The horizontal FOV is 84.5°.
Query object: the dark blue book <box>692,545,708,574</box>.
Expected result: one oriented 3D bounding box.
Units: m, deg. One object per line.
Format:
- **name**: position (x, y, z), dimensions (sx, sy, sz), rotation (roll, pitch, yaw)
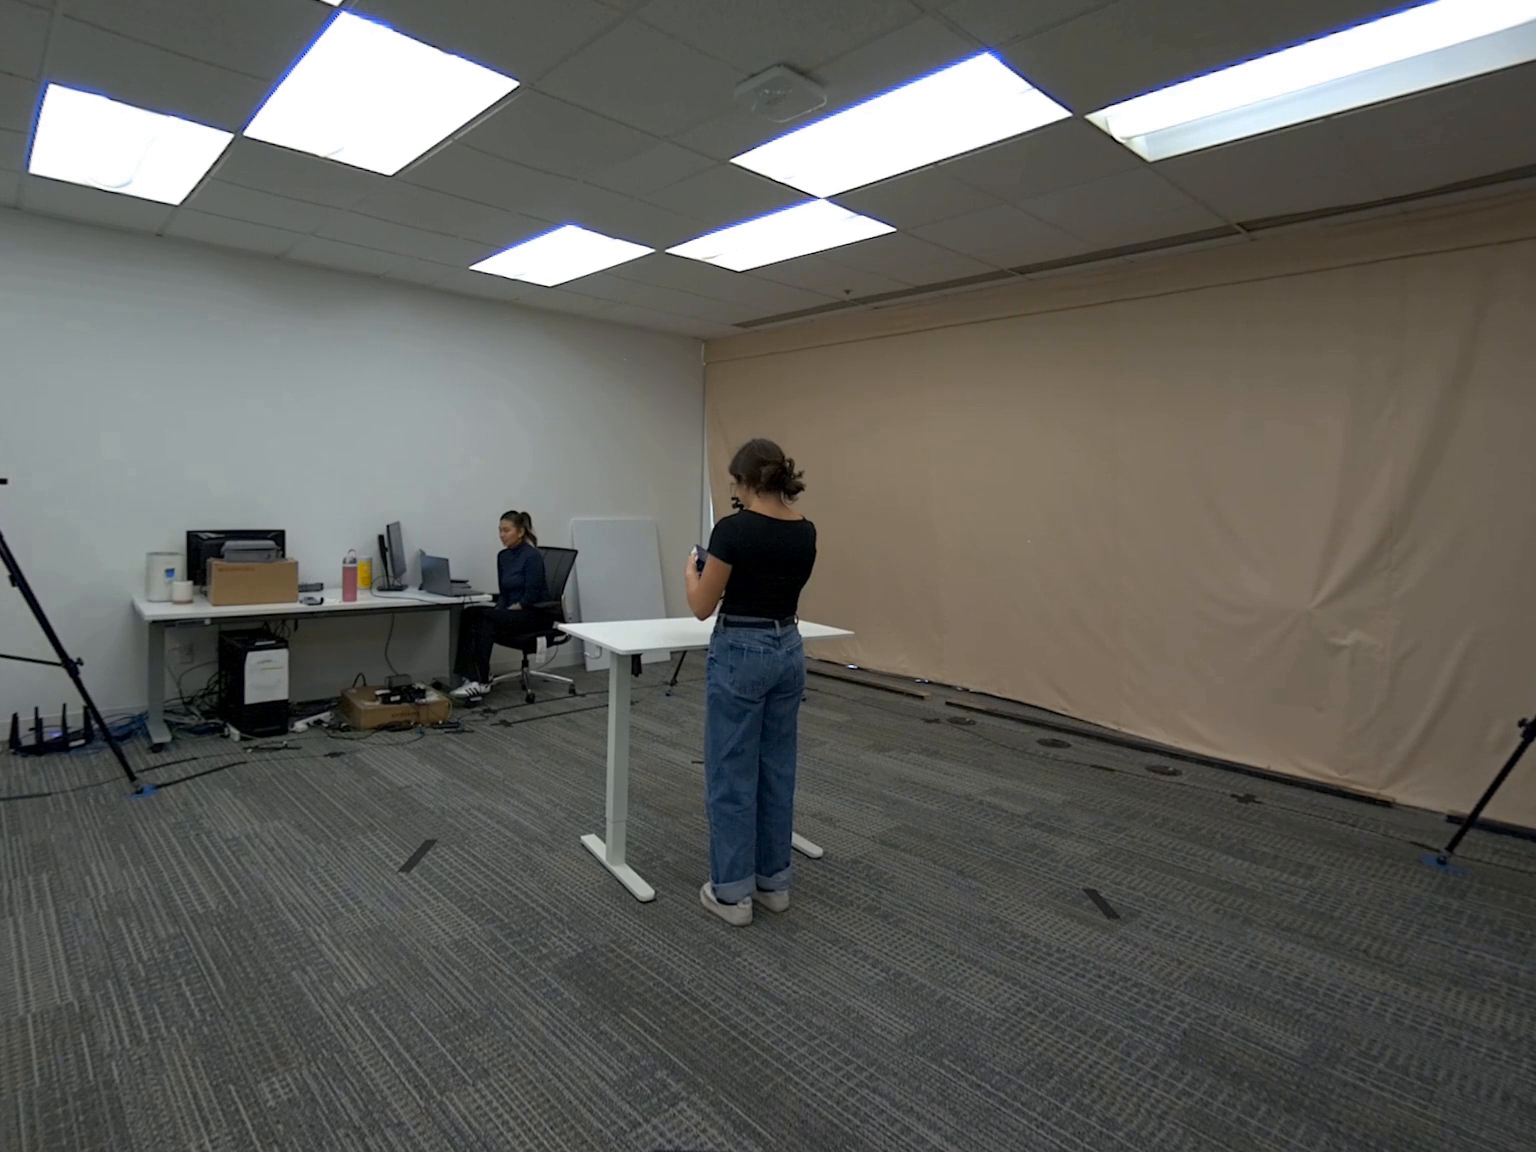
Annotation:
- **dark blue book**: position (-0.162, -0.011, 3.069), dimensions (0.241, 0.045, 0.166), rotation (31, 14, -16)
